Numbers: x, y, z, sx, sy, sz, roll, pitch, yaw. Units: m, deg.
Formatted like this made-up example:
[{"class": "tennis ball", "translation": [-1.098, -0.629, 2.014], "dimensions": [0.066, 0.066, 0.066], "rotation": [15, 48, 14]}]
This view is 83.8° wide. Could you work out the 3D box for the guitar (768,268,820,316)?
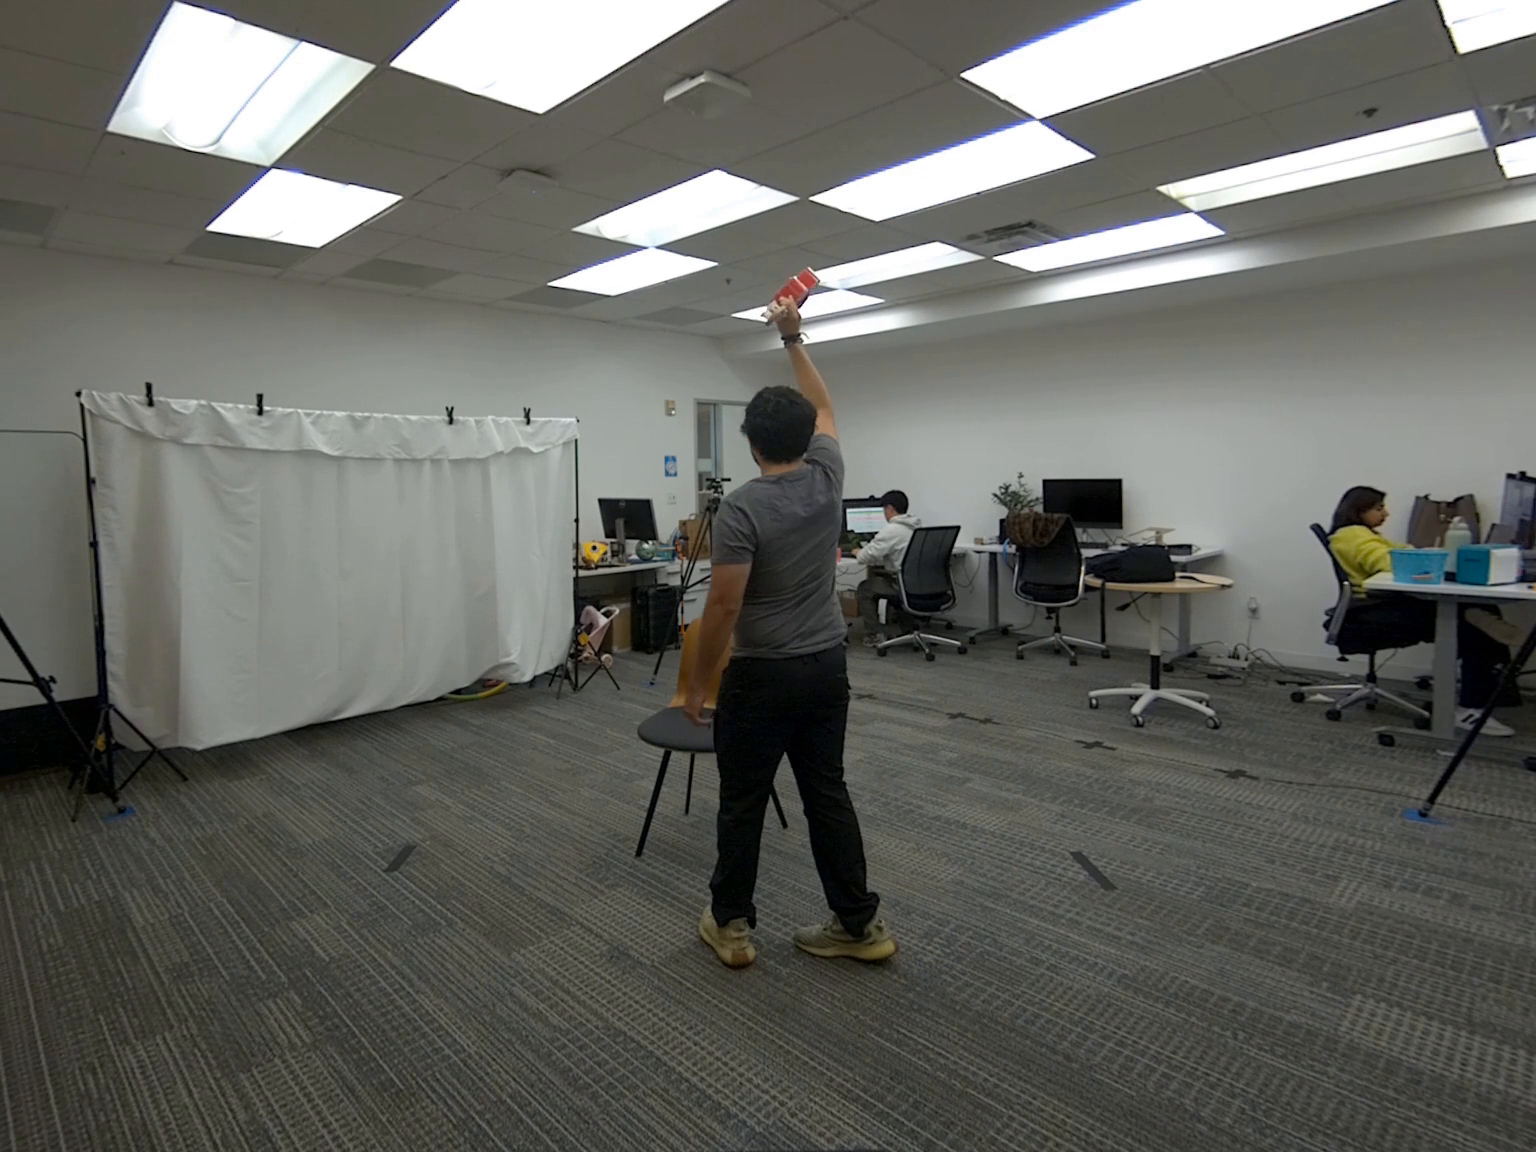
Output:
[{"class": "guitar", "translation": [0.072, -0.889, 2.711], "dimensions": [0.070, 0.193, 0.500], "rotation": [42, 18, -5]}]
